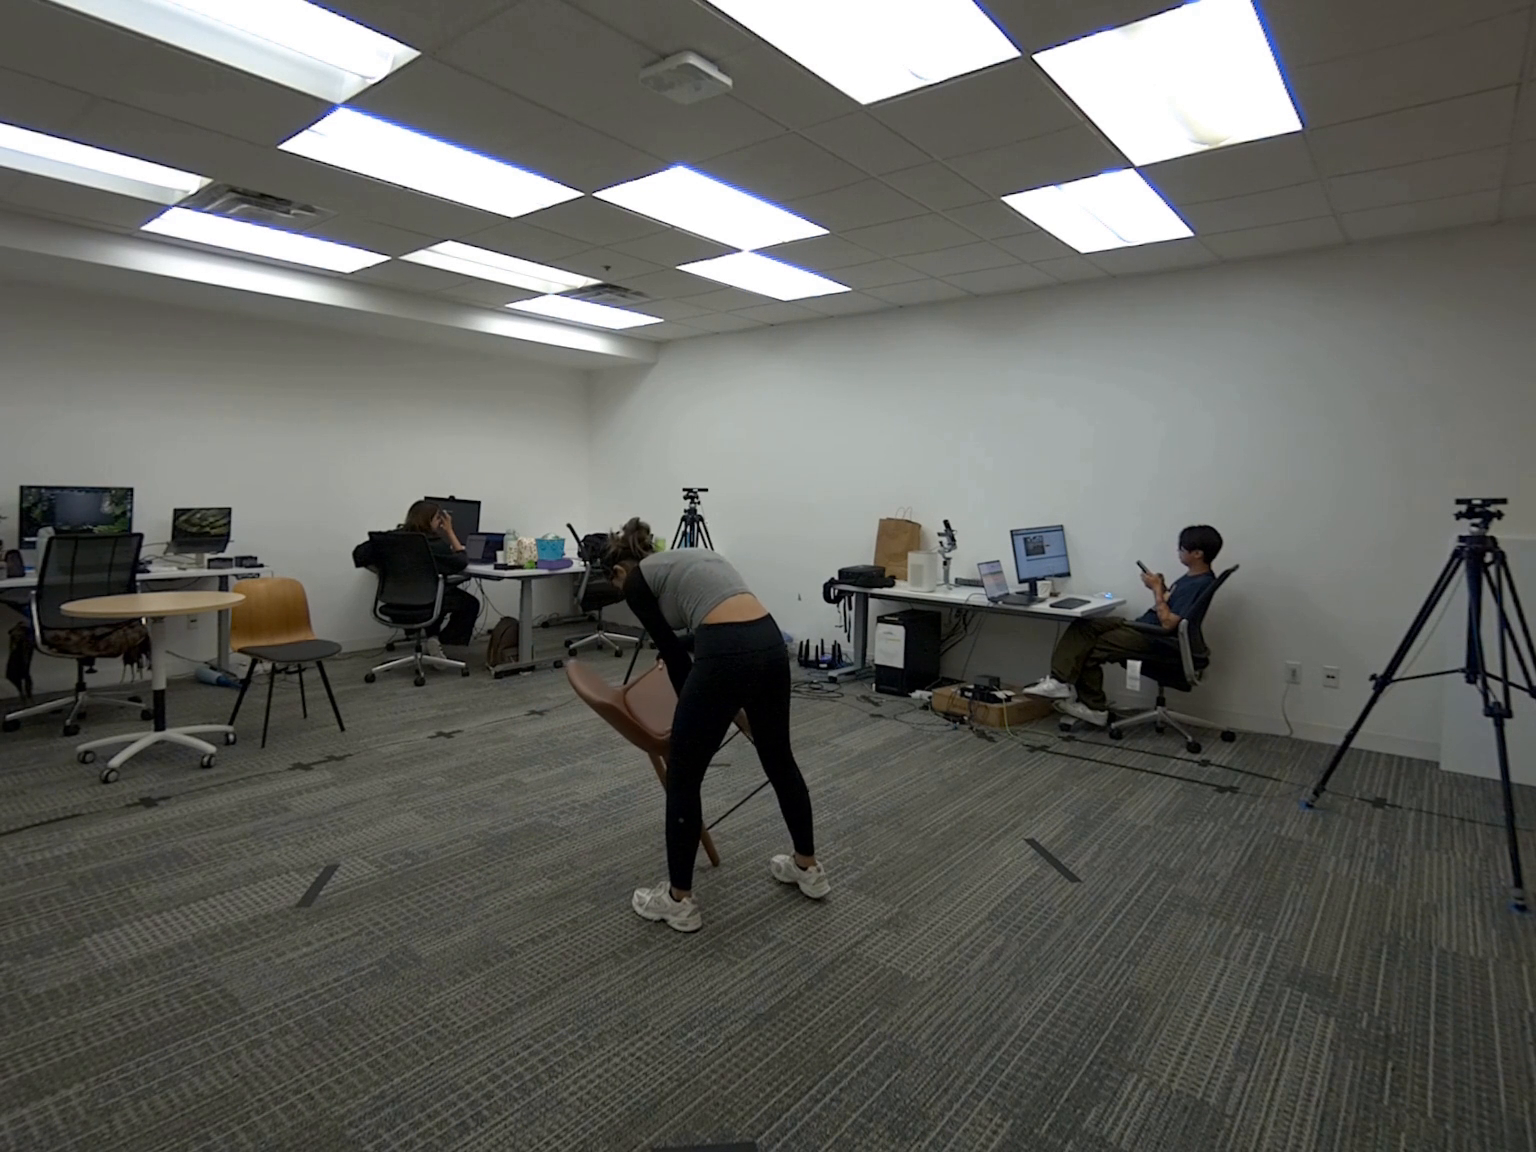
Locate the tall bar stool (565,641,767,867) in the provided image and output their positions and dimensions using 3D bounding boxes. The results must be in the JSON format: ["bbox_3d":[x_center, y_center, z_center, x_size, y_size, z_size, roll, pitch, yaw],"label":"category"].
[{"bbox_3d":[-0.309,0.565,3.163,0.466,0.861,0.473,-37,28,-15],"label":"tall bar stool"}]
